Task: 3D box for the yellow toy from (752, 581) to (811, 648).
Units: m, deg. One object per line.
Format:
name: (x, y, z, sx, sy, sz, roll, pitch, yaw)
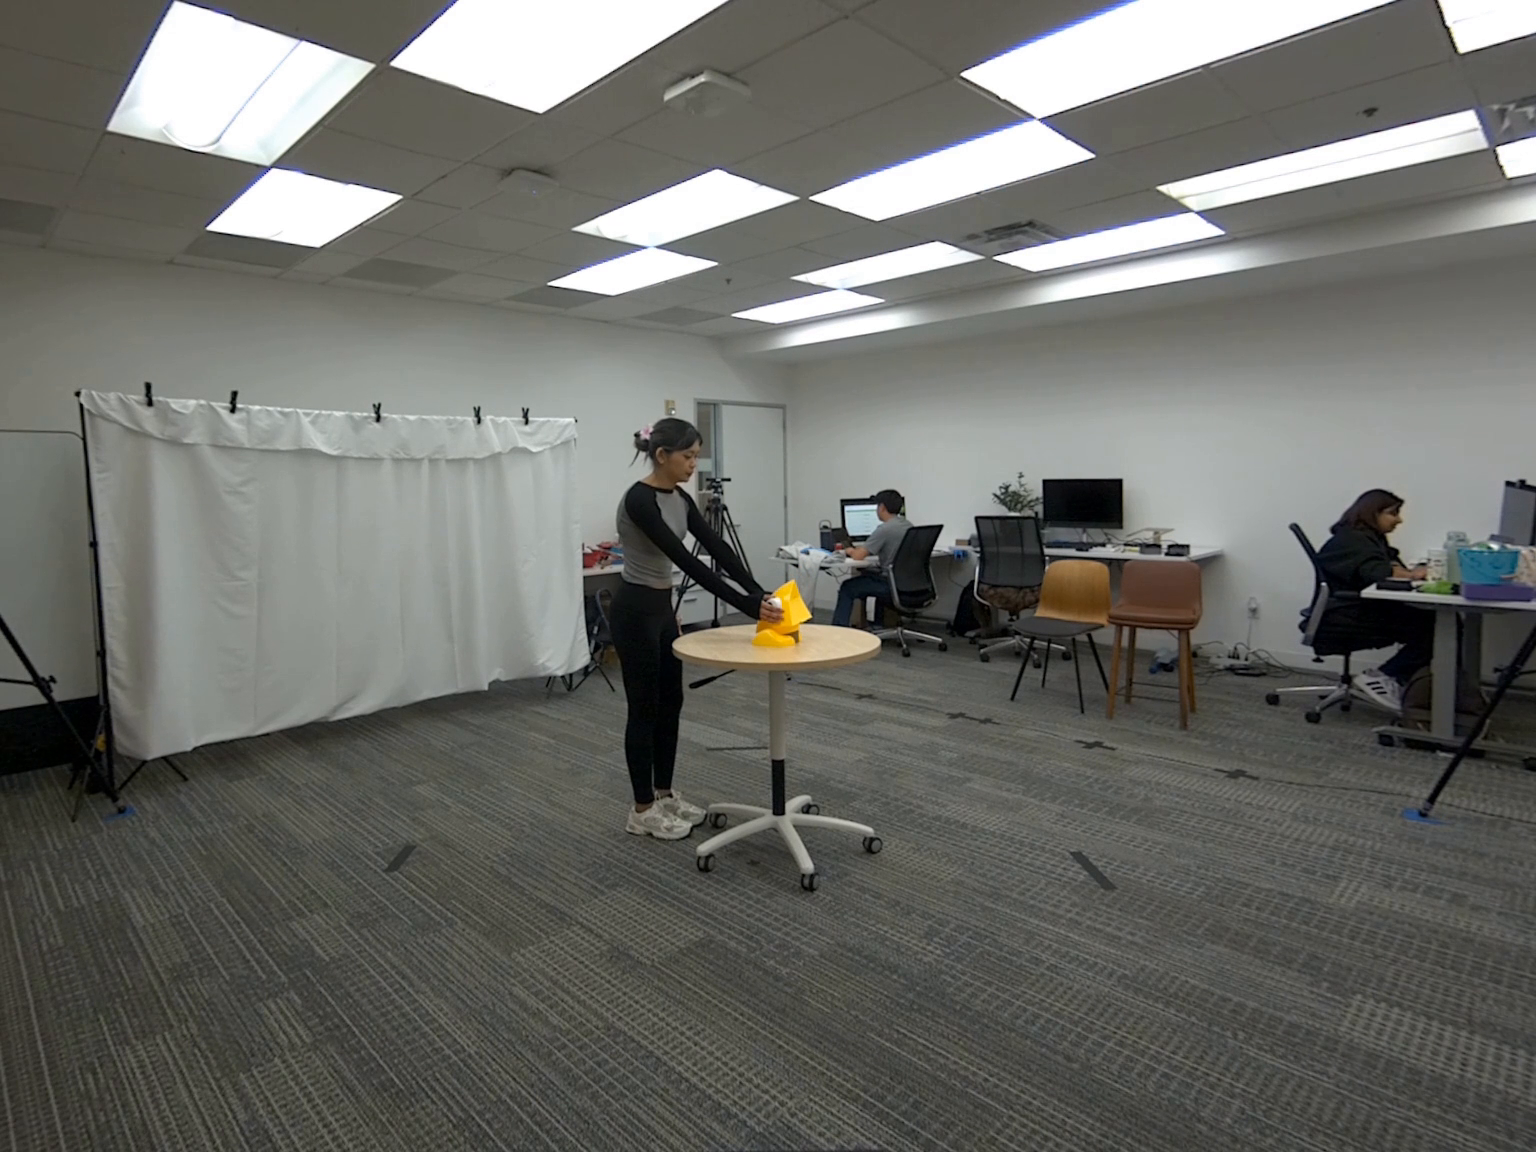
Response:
yellow toy: (0.043, 0.129, 3.139, 0.197, 0.230, 0.201, 0, 4, 23)
